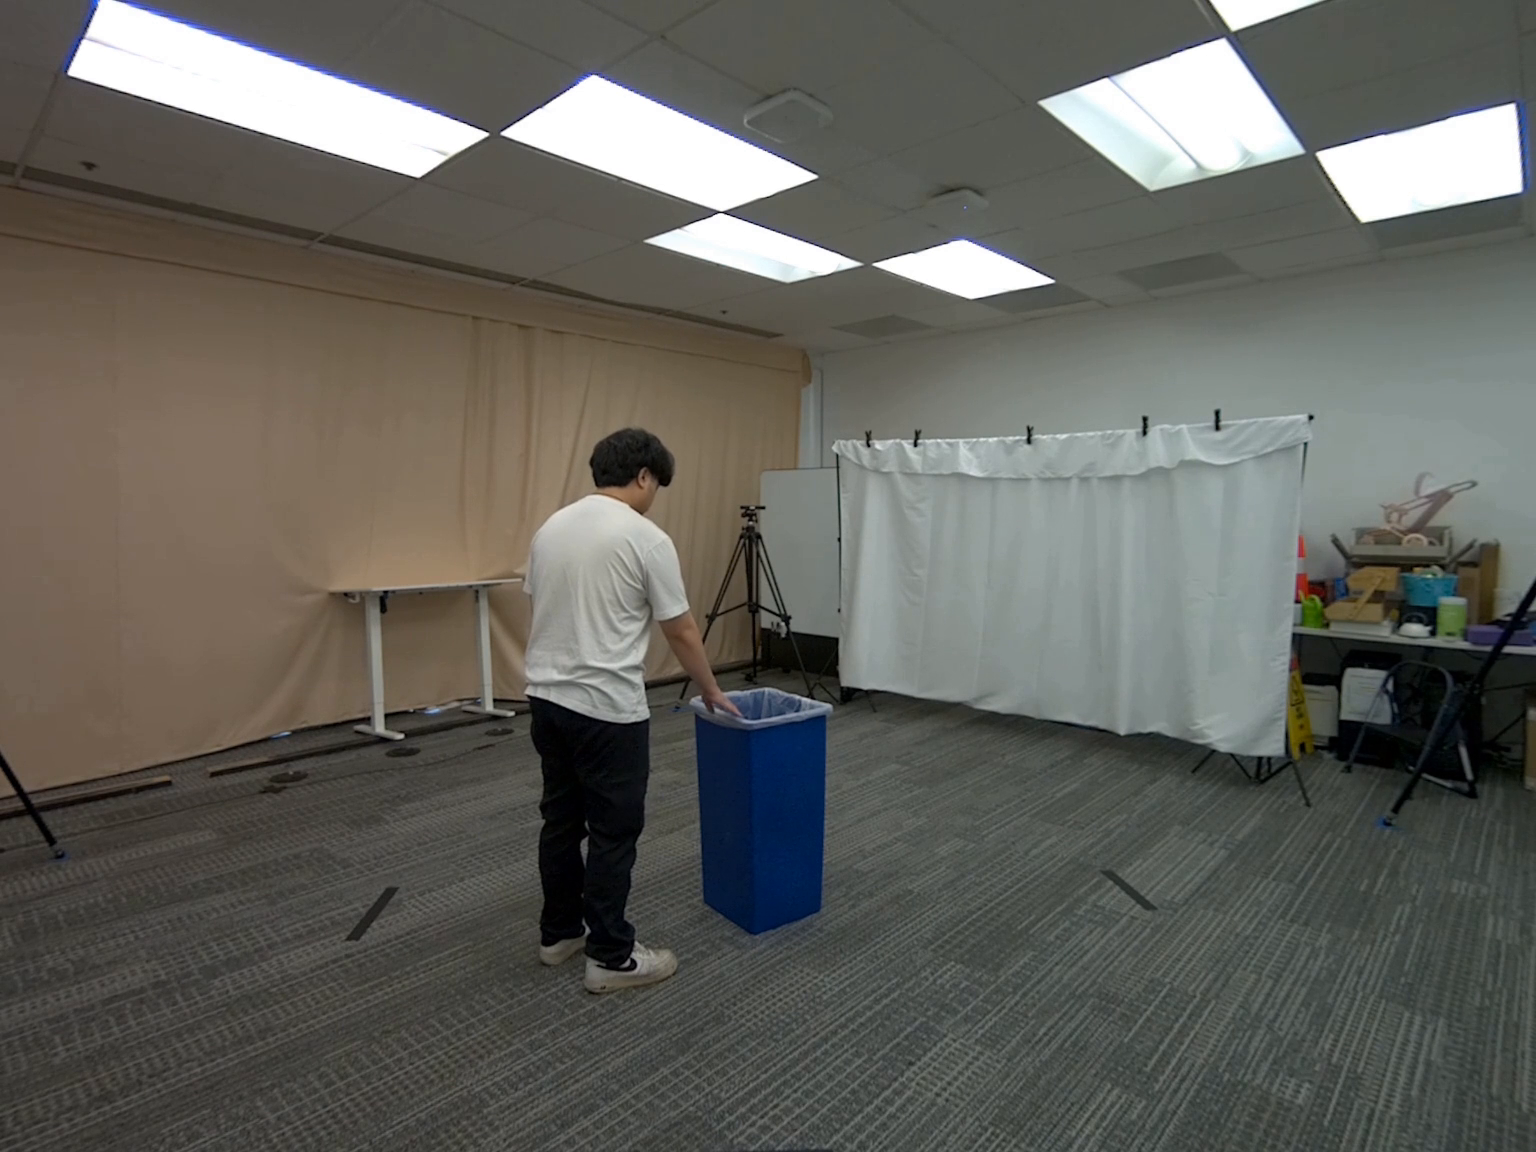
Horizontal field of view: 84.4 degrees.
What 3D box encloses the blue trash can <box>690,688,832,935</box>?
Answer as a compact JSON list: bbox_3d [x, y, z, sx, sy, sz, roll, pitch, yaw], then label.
[{"bbox_3d":[-0.026,0.792,2.907,0.363,0.712,0.390,-2,4,-37],"label":"blue trash can"}]
